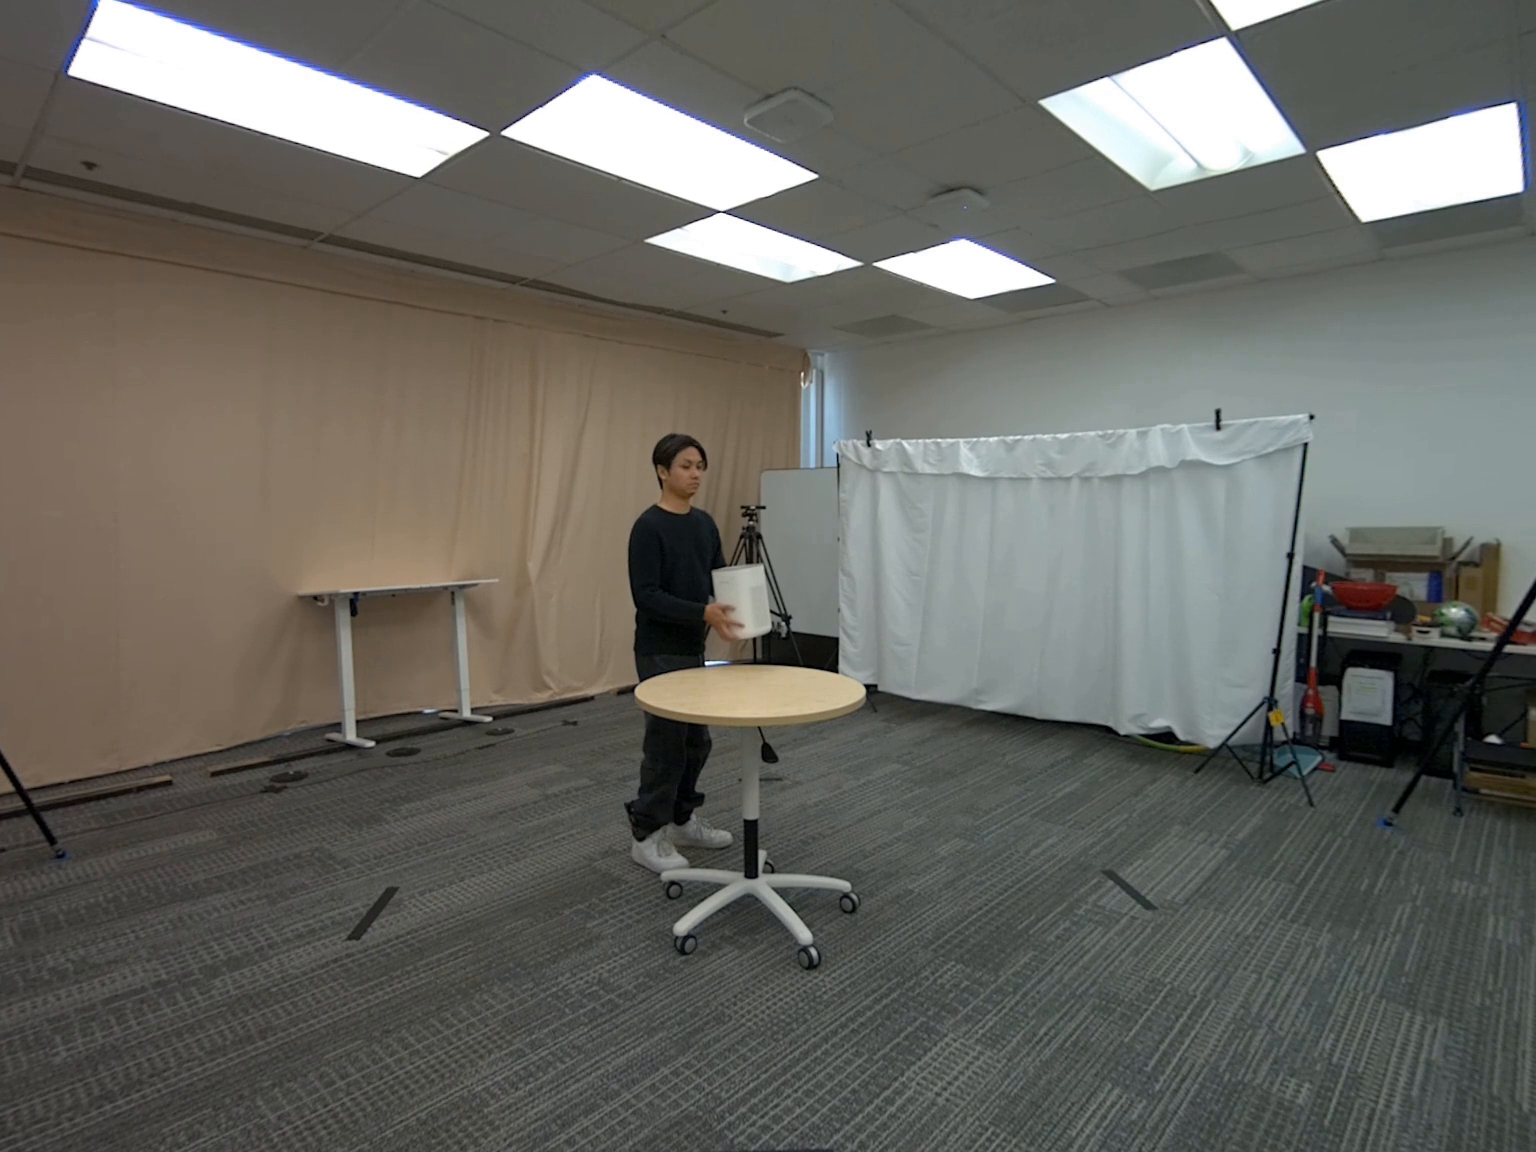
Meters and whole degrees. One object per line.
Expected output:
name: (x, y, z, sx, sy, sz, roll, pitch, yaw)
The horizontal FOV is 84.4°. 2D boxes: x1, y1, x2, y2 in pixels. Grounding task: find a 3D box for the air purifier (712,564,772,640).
air purifier: (-0.099, 0.097, 3.180, 0.176, 0.265, 0.167, -7, 1, 38)
